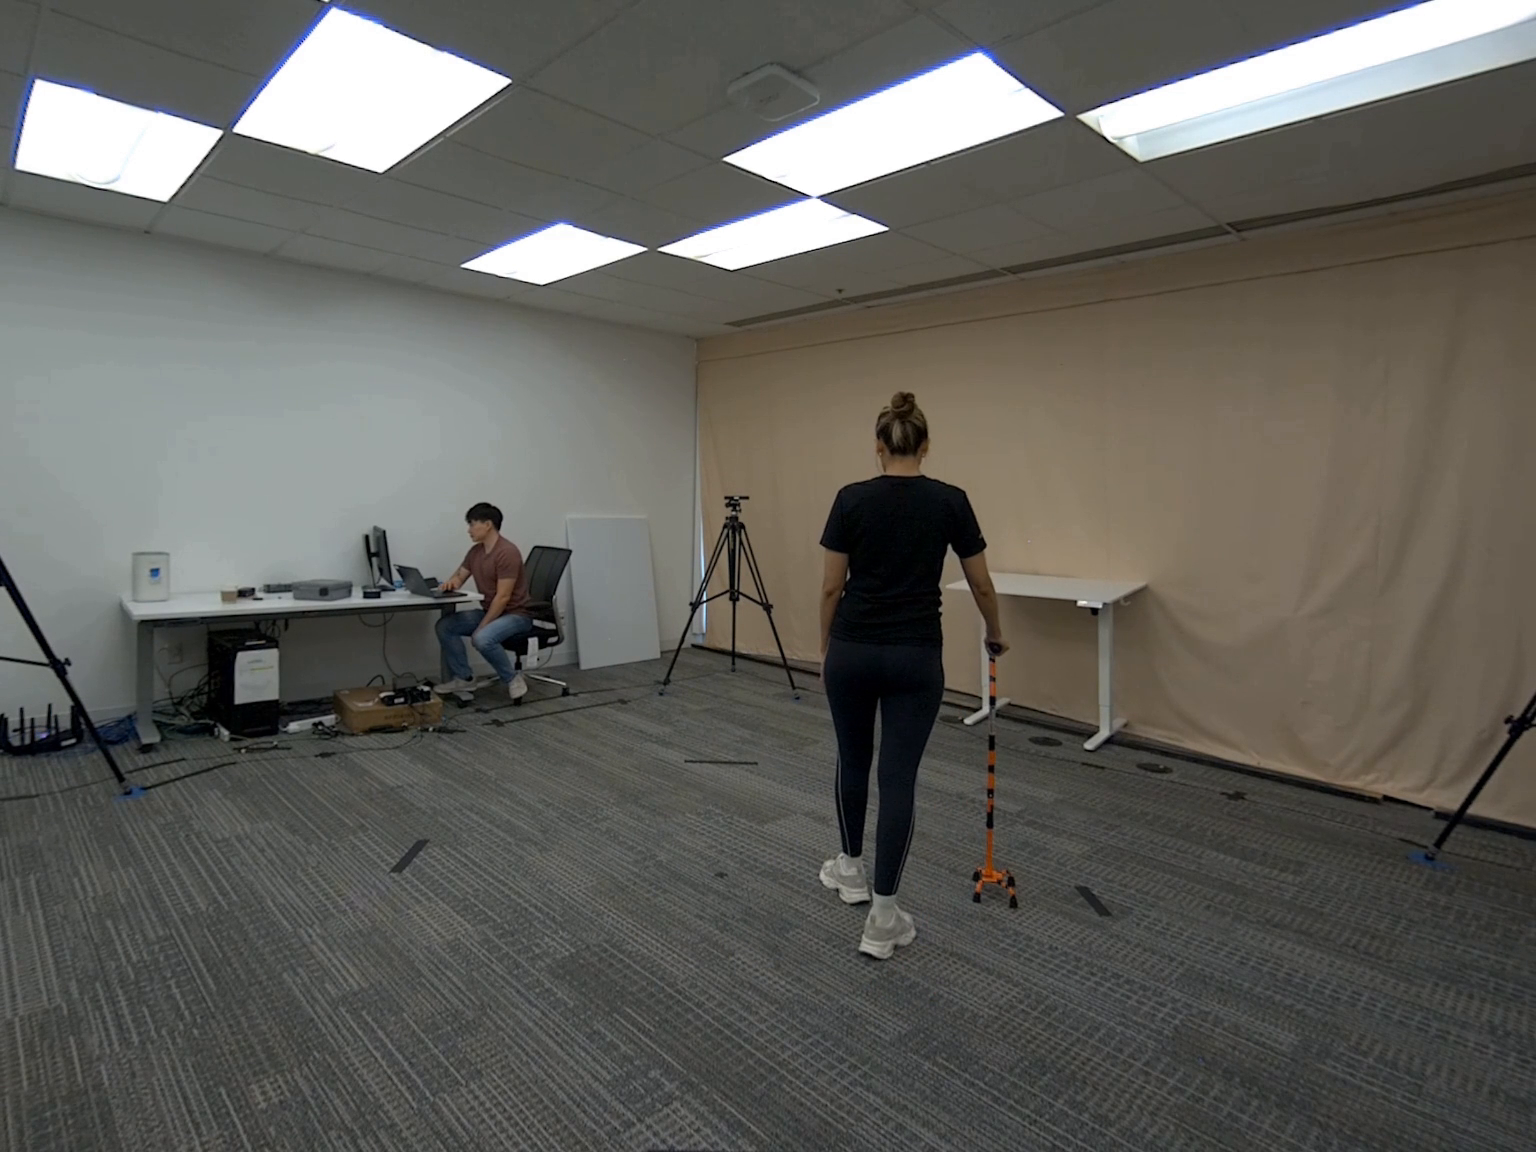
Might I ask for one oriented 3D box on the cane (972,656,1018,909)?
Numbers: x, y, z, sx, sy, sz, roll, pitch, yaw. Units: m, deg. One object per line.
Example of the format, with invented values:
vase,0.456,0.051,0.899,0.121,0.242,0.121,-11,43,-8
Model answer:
cane,0.800,0.681,3.002,0.153,0.907,0.205,0,1,11
